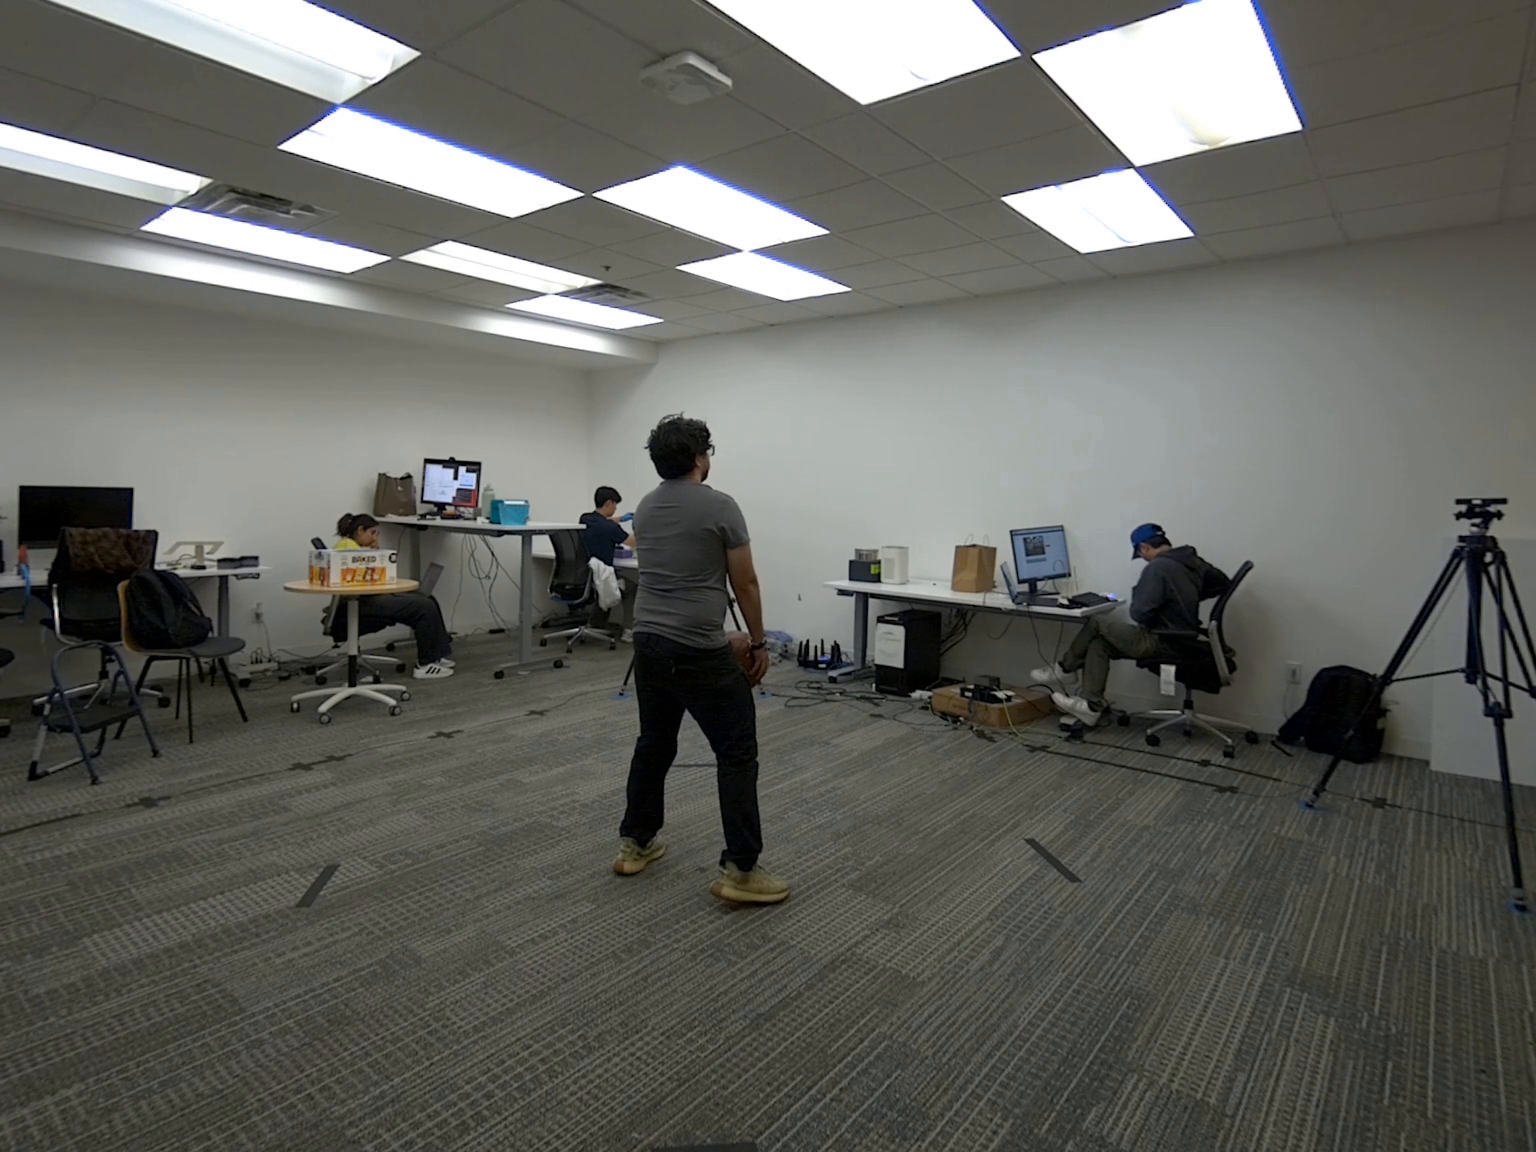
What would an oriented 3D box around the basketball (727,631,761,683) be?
[{"bbox_3d":[-0.118,0.322,3.248,0.235,0.235,0.237,1,4,-2],"label":"basketball"}]
